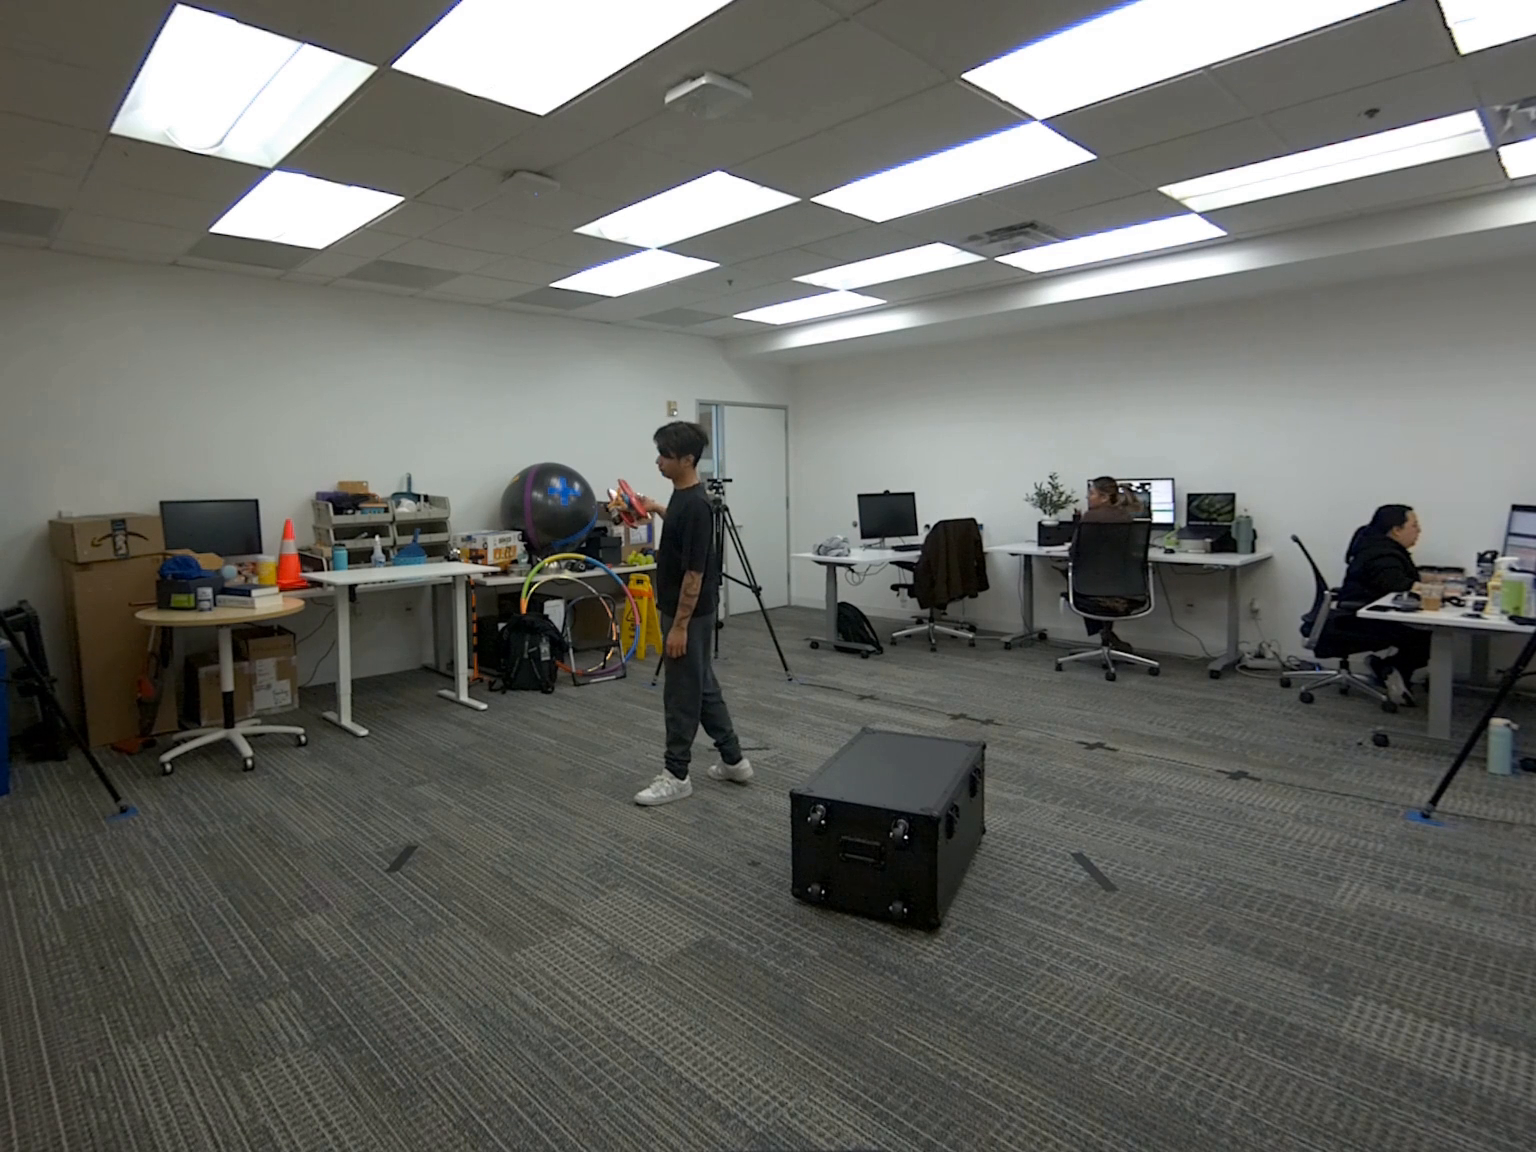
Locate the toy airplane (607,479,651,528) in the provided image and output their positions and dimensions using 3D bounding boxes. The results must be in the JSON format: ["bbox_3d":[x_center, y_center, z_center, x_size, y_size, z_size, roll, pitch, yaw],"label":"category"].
[{"bbox_3d":[-0.694,-0.359,4.225,0.156,0.250,0.260,-47,4,27],"label":"toy airplane"}]
